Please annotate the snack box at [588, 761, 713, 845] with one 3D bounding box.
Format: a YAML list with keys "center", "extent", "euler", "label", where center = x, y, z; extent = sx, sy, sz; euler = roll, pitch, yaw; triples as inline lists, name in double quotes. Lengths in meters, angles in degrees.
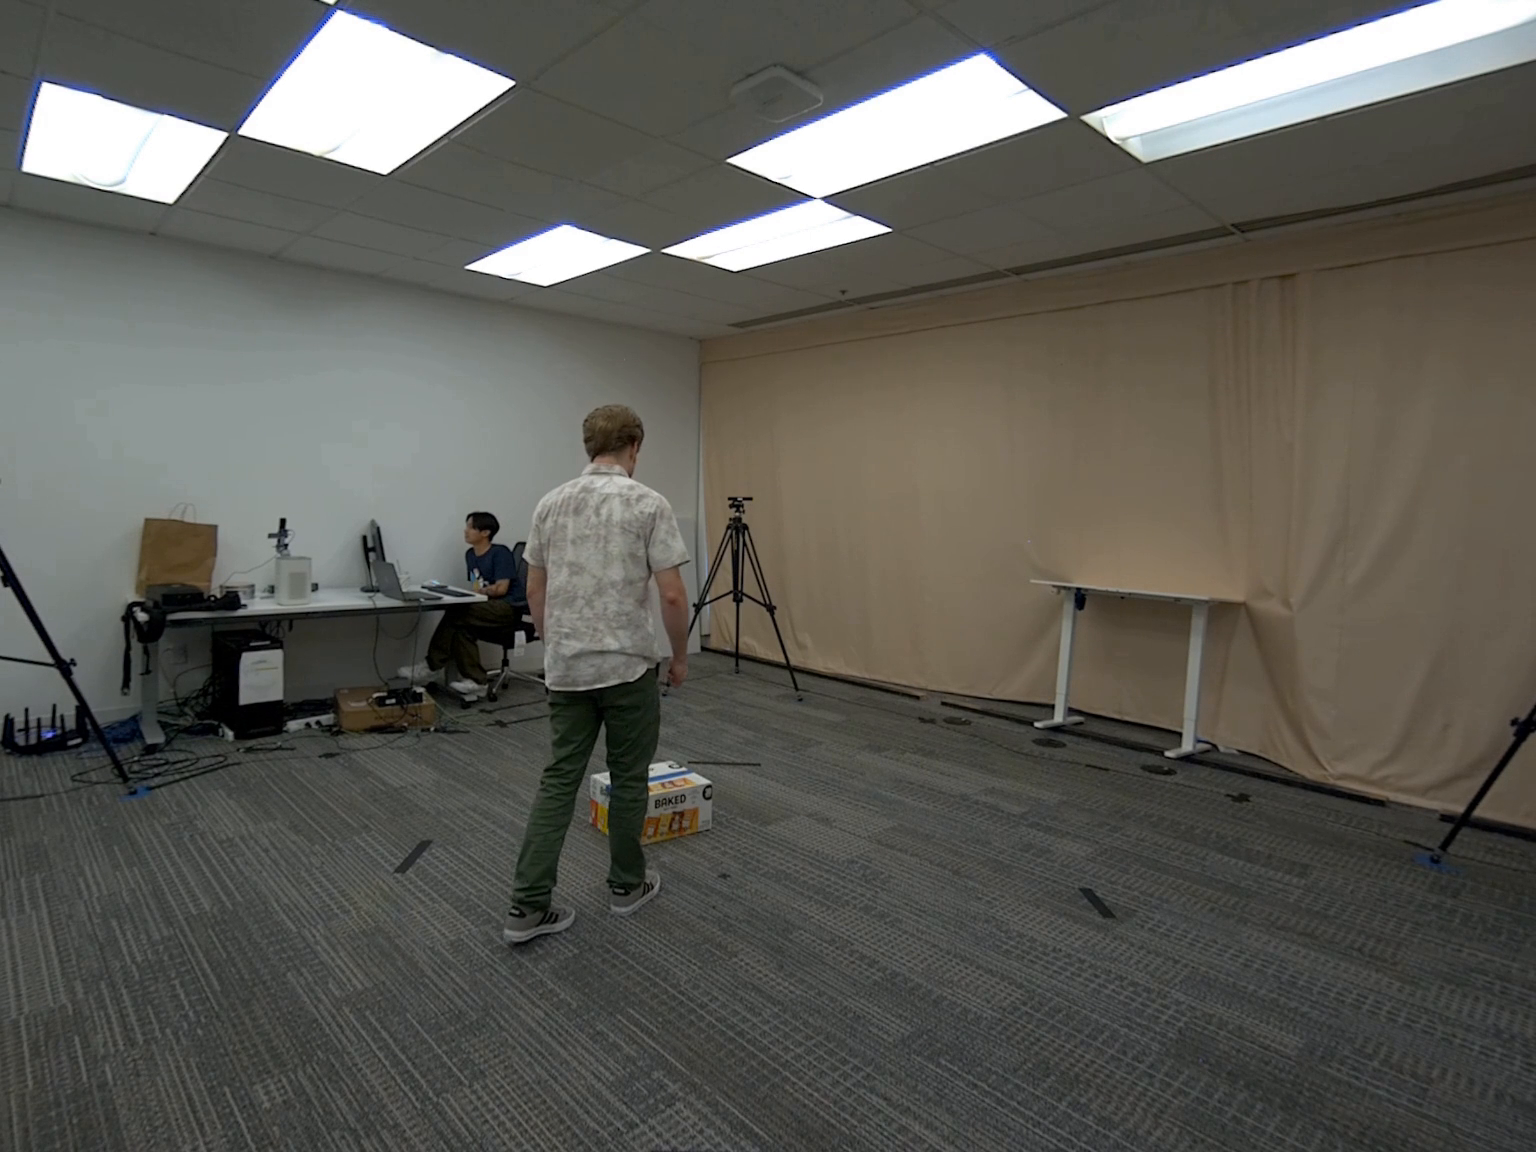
- center: [-0.506, 0.959, 3.560]
  extent: [0.396, 0.205, 0.349]
  euler: [-2, 6, -36]
  label: "snack box"
